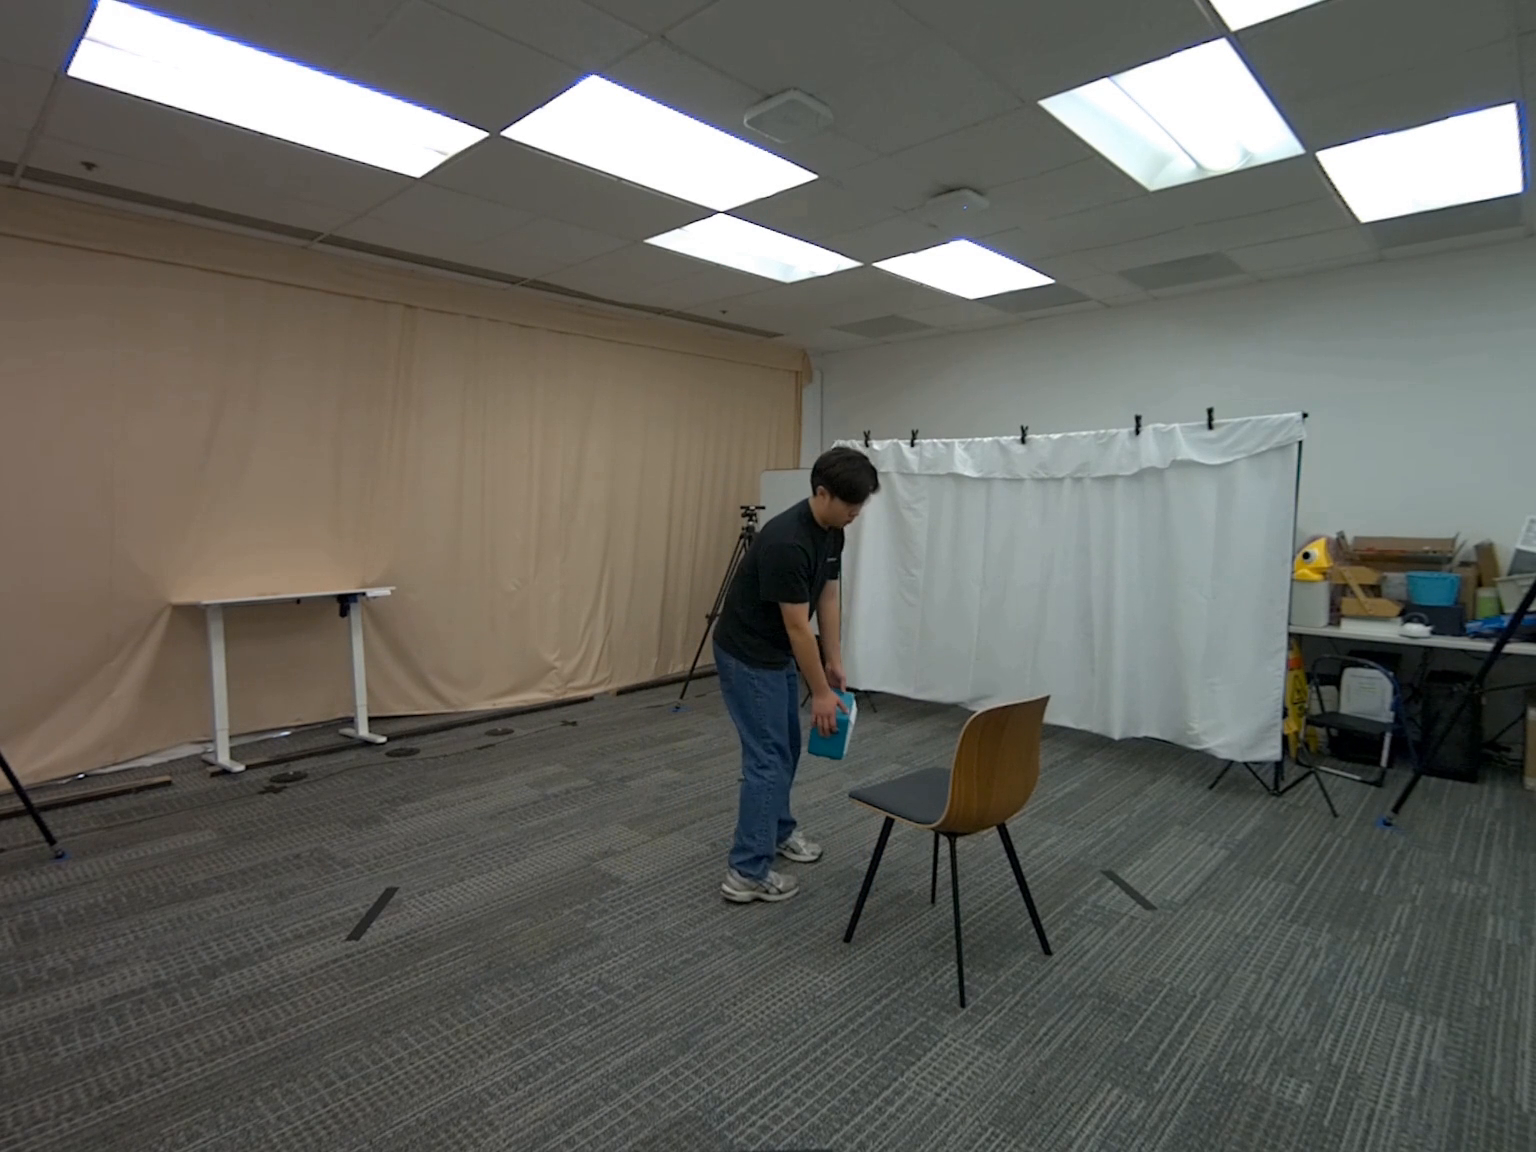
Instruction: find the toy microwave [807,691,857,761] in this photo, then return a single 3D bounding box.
[{"bbox_3d":[0.248,0.553,3.140,0.154,0.183,0.284,10,12,10],"label":"toy microwave"}]
